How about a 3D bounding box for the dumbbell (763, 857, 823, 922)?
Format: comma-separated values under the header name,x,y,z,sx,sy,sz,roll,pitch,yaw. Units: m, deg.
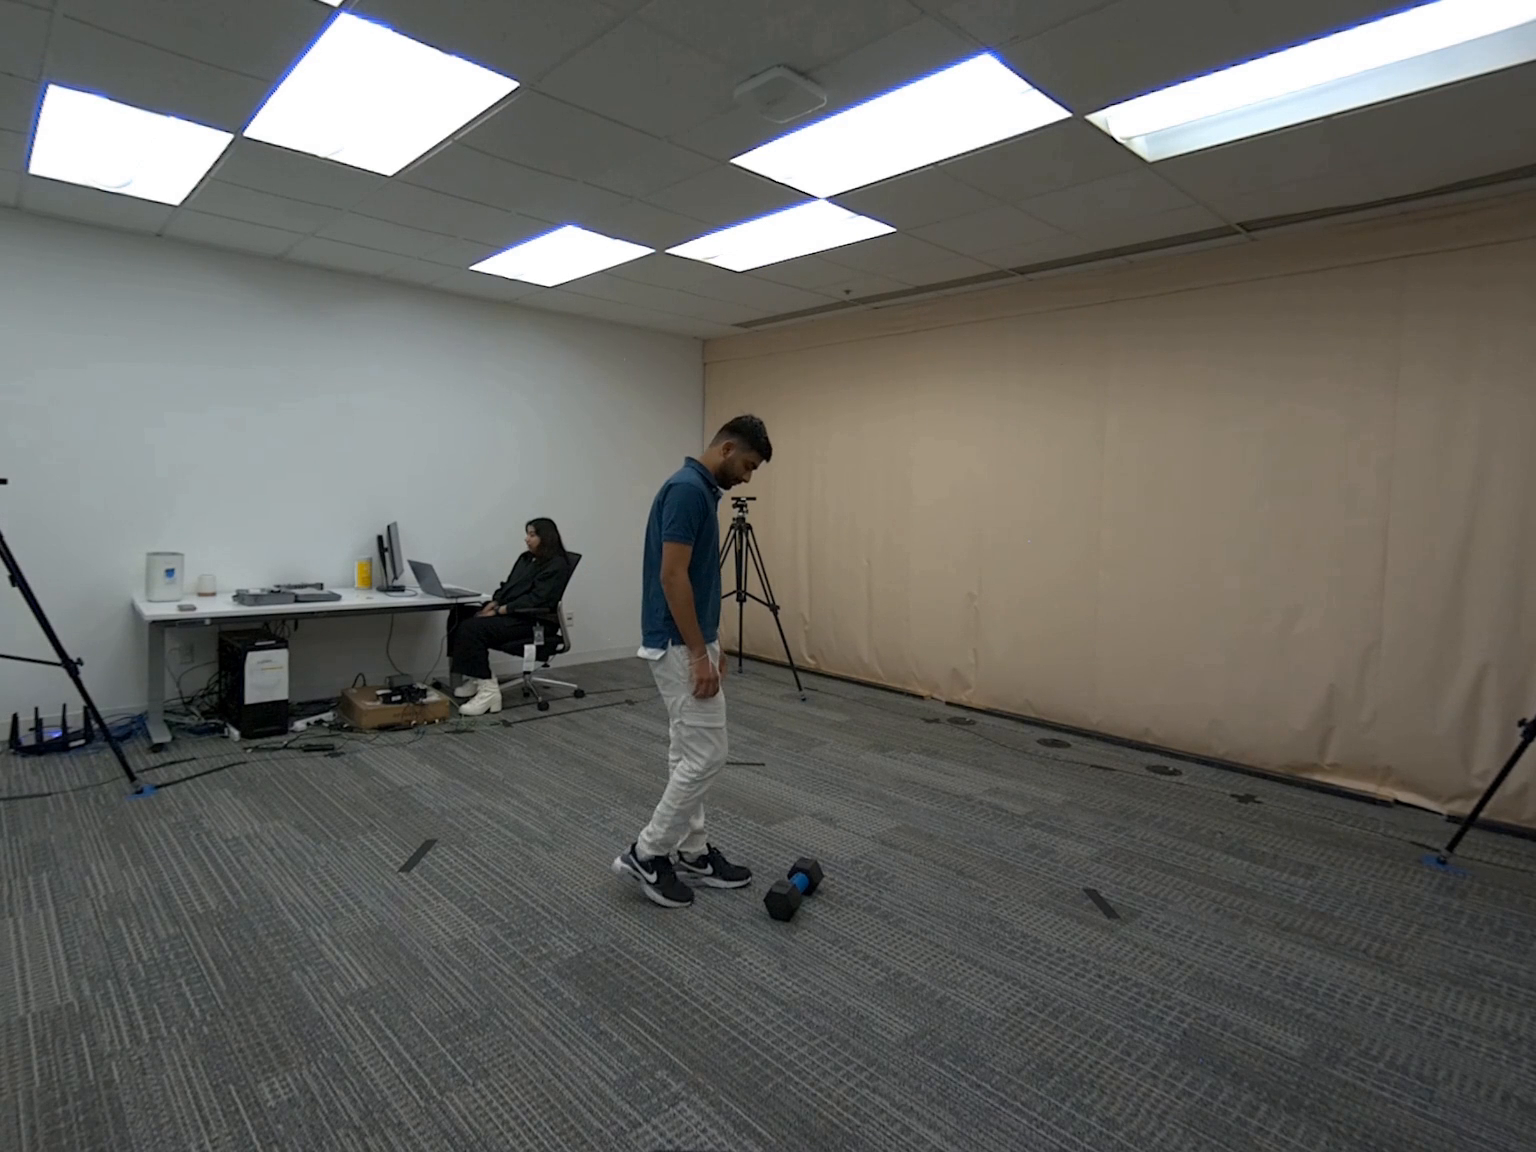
name,x,y,z,sx,sy,sz,roll,pitch,yaw
dumbbell,0.082,1.077,2.896,0.111,0.122,0.289,36,17,17
